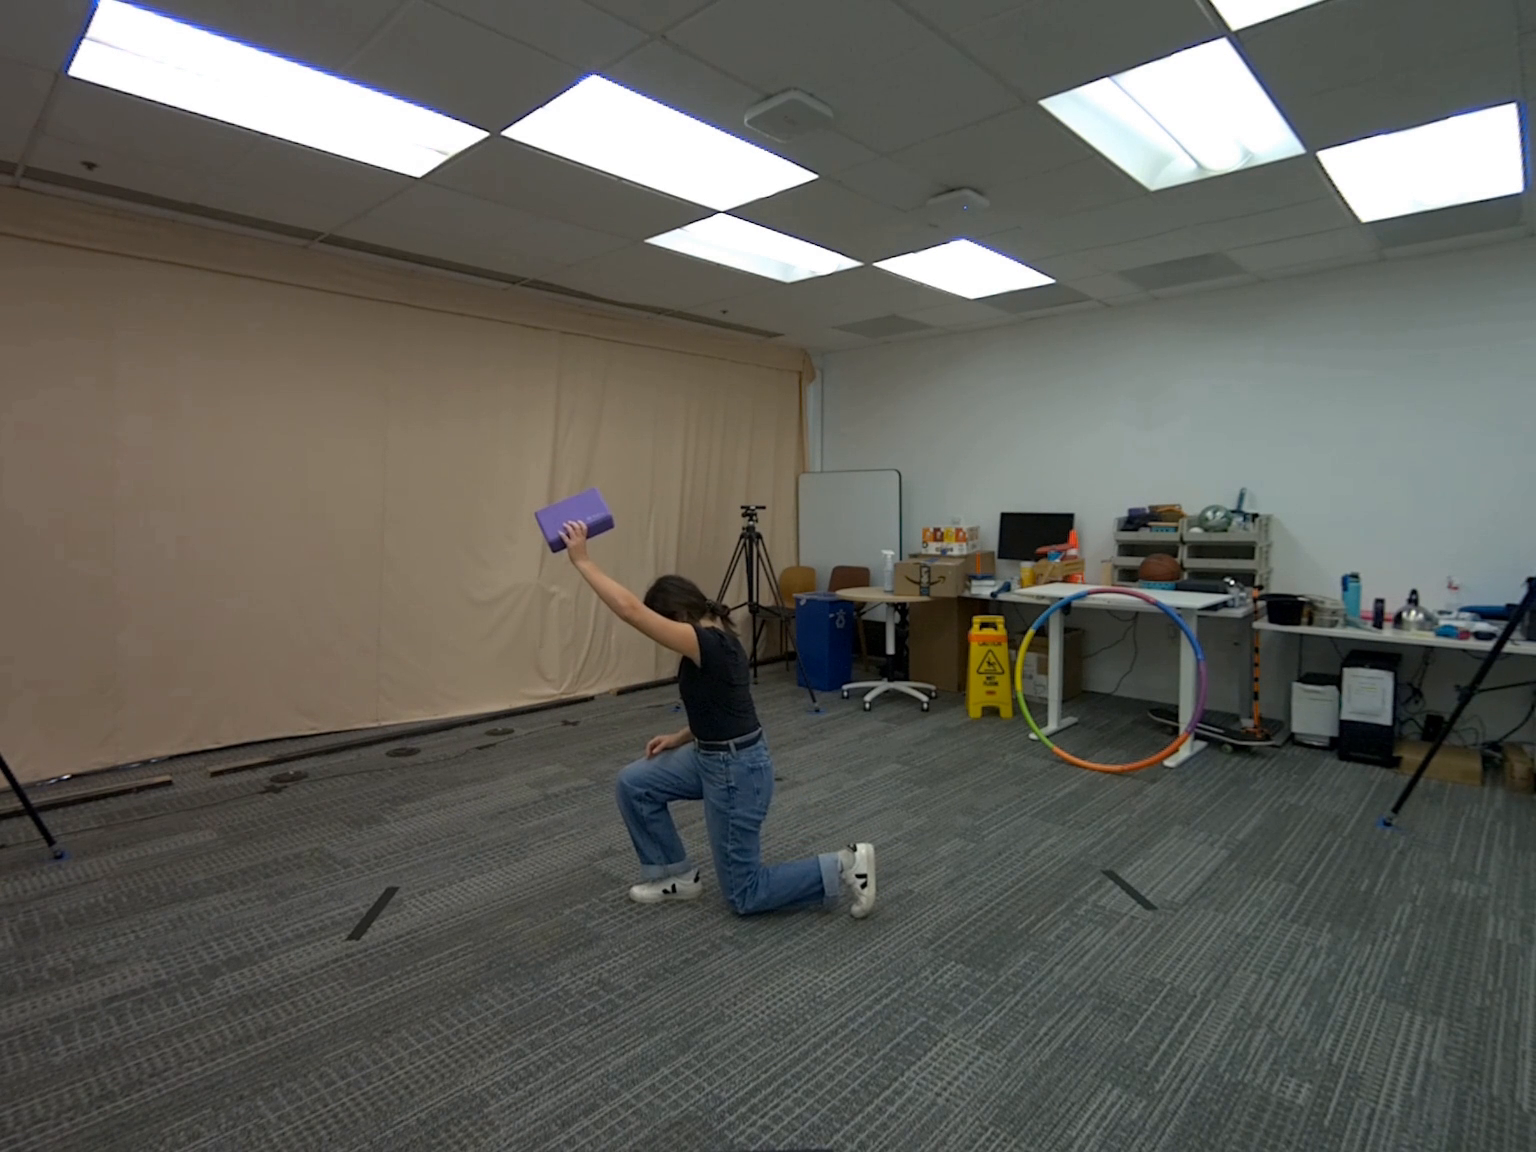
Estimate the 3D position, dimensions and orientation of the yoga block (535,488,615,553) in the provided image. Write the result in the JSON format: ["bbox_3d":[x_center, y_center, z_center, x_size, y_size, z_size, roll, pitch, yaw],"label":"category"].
[{"bbox_3d":[-0.658,-0.188,2.840,0.227,0.153,0.075,-27,-31,-12],"label":"yoga block"}]
